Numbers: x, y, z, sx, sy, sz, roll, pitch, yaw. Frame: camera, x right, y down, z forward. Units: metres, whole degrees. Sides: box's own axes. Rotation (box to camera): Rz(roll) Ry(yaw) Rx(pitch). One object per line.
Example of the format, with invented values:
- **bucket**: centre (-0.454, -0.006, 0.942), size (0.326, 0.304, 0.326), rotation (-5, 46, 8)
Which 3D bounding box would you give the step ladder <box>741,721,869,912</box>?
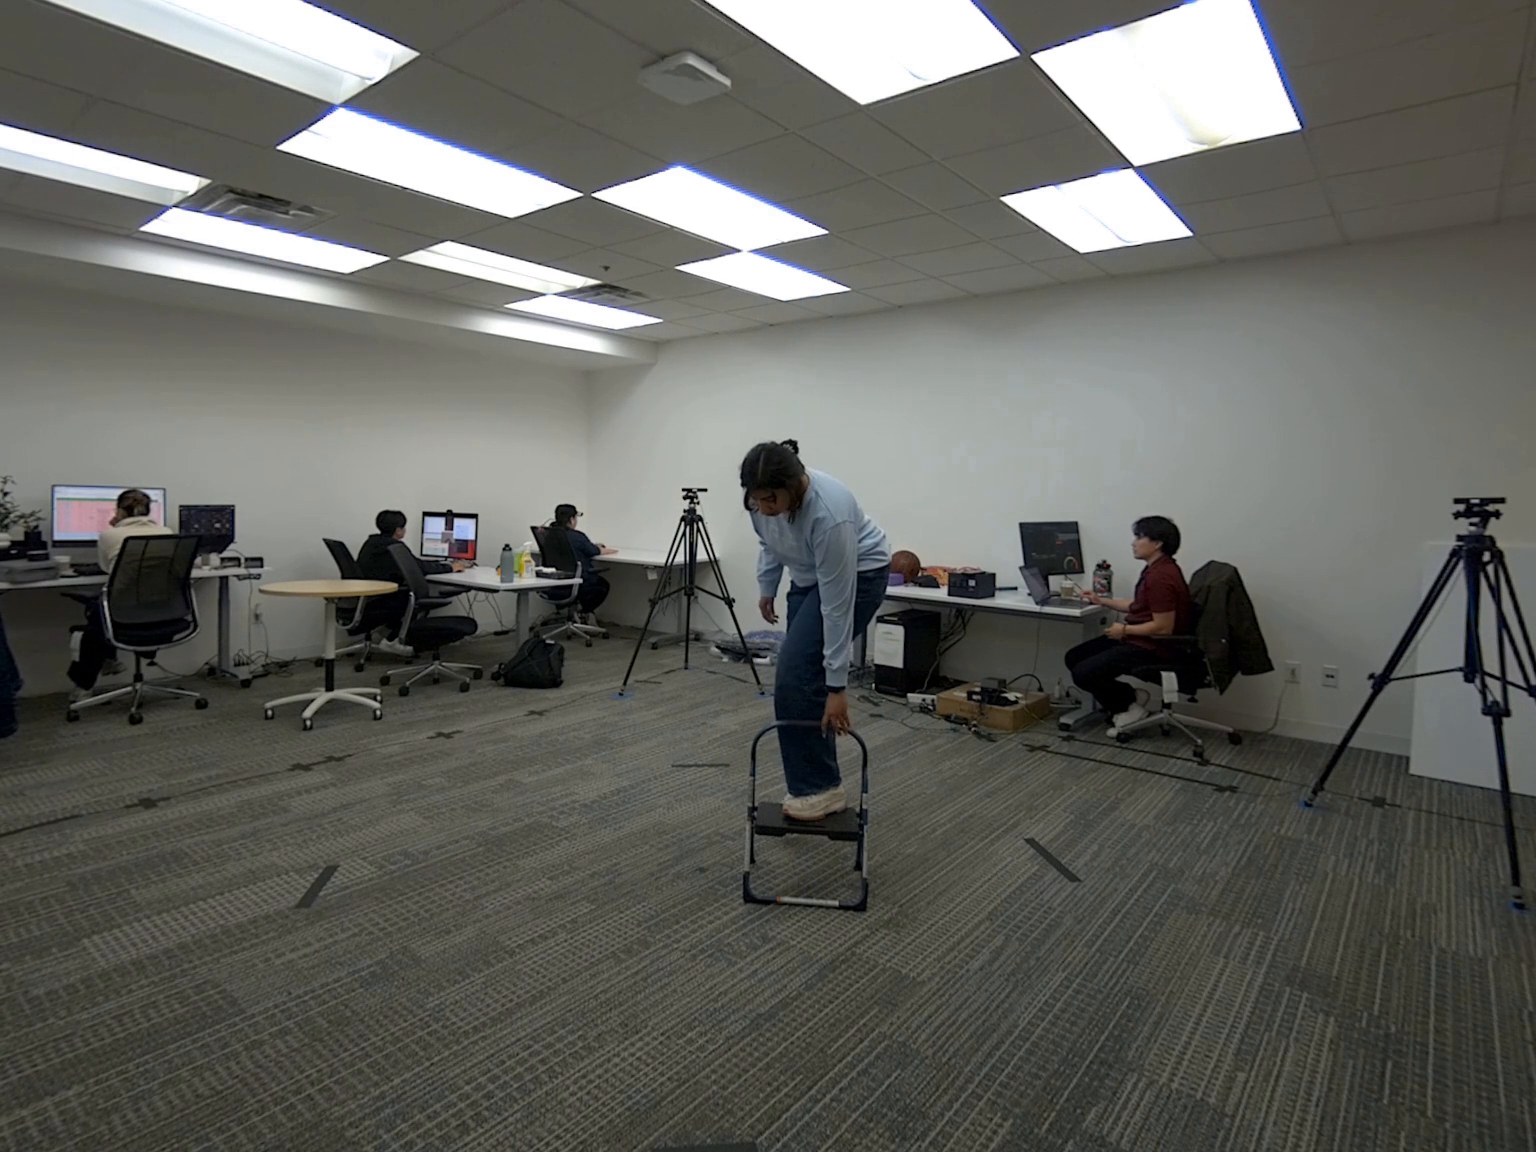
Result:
- **step ladder**: centre (0.127, 0.788, 2.990), size (0.433, 0.605, 0.348), rotation (1, 3, 4)
